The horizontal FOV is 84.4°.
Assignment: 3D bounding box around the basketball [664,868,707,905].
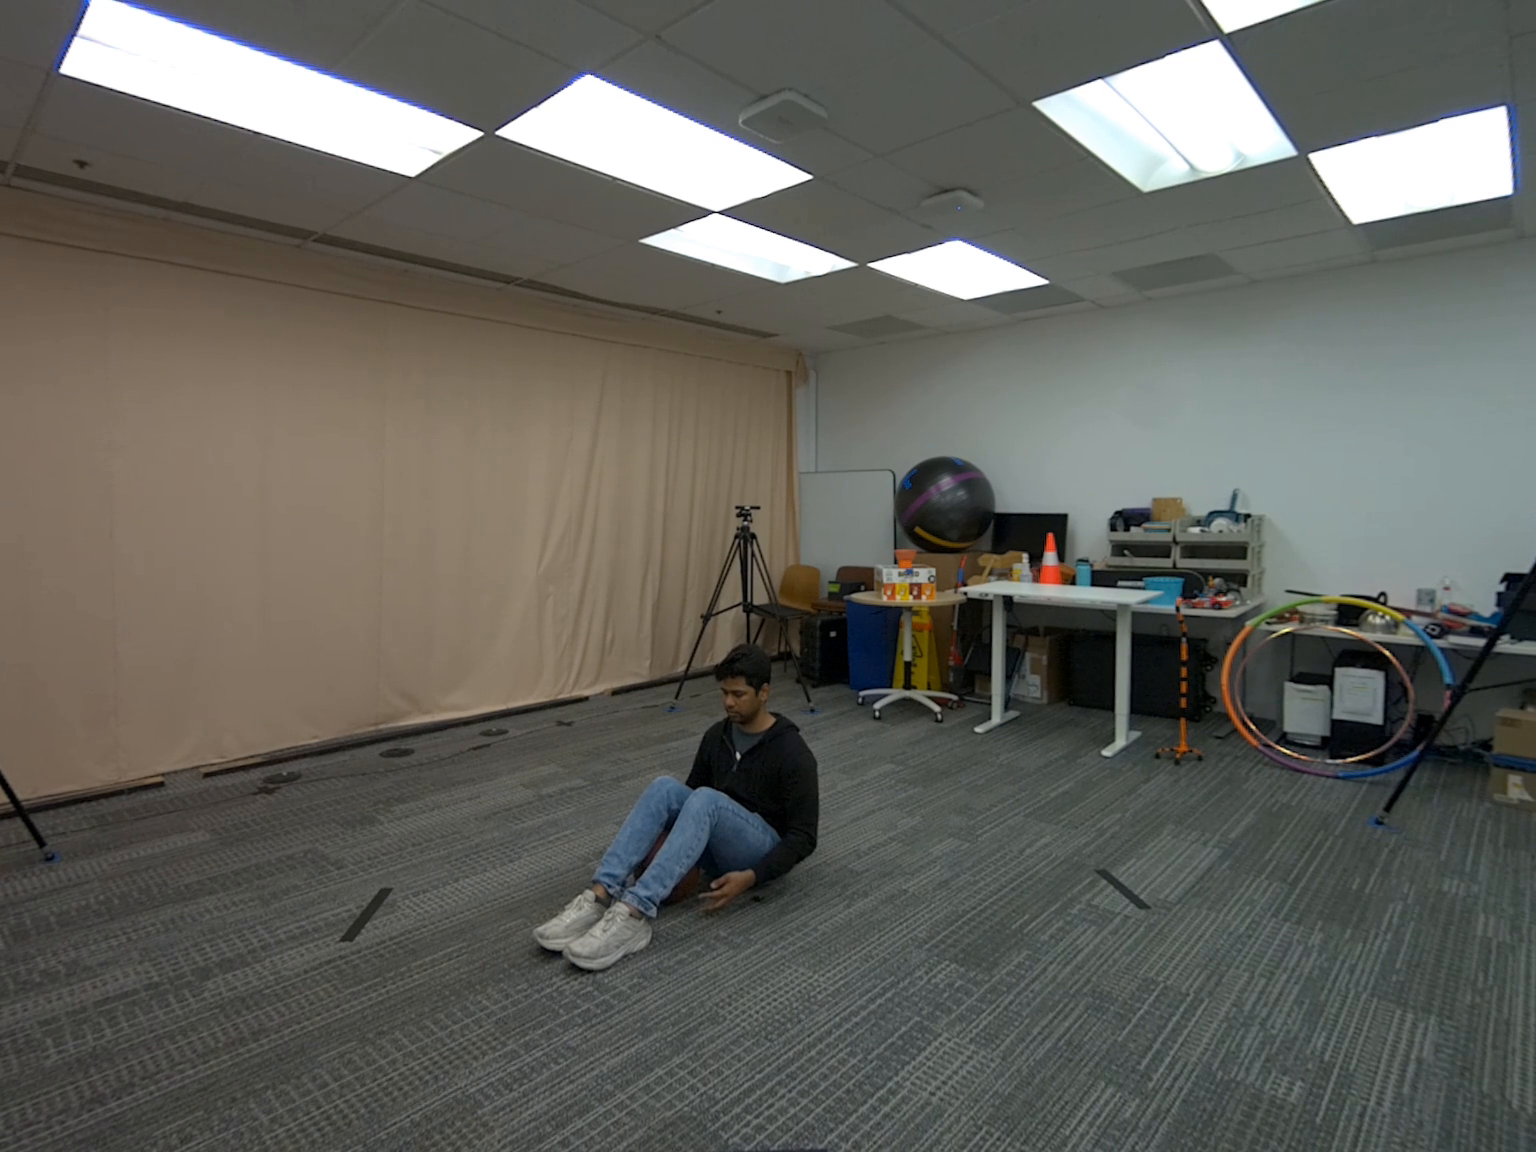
[{"bbox_3d":[-0.354,1.022,2.986,0.236,0.235,0.237,0,4,-2],"label":"basketball"}]
